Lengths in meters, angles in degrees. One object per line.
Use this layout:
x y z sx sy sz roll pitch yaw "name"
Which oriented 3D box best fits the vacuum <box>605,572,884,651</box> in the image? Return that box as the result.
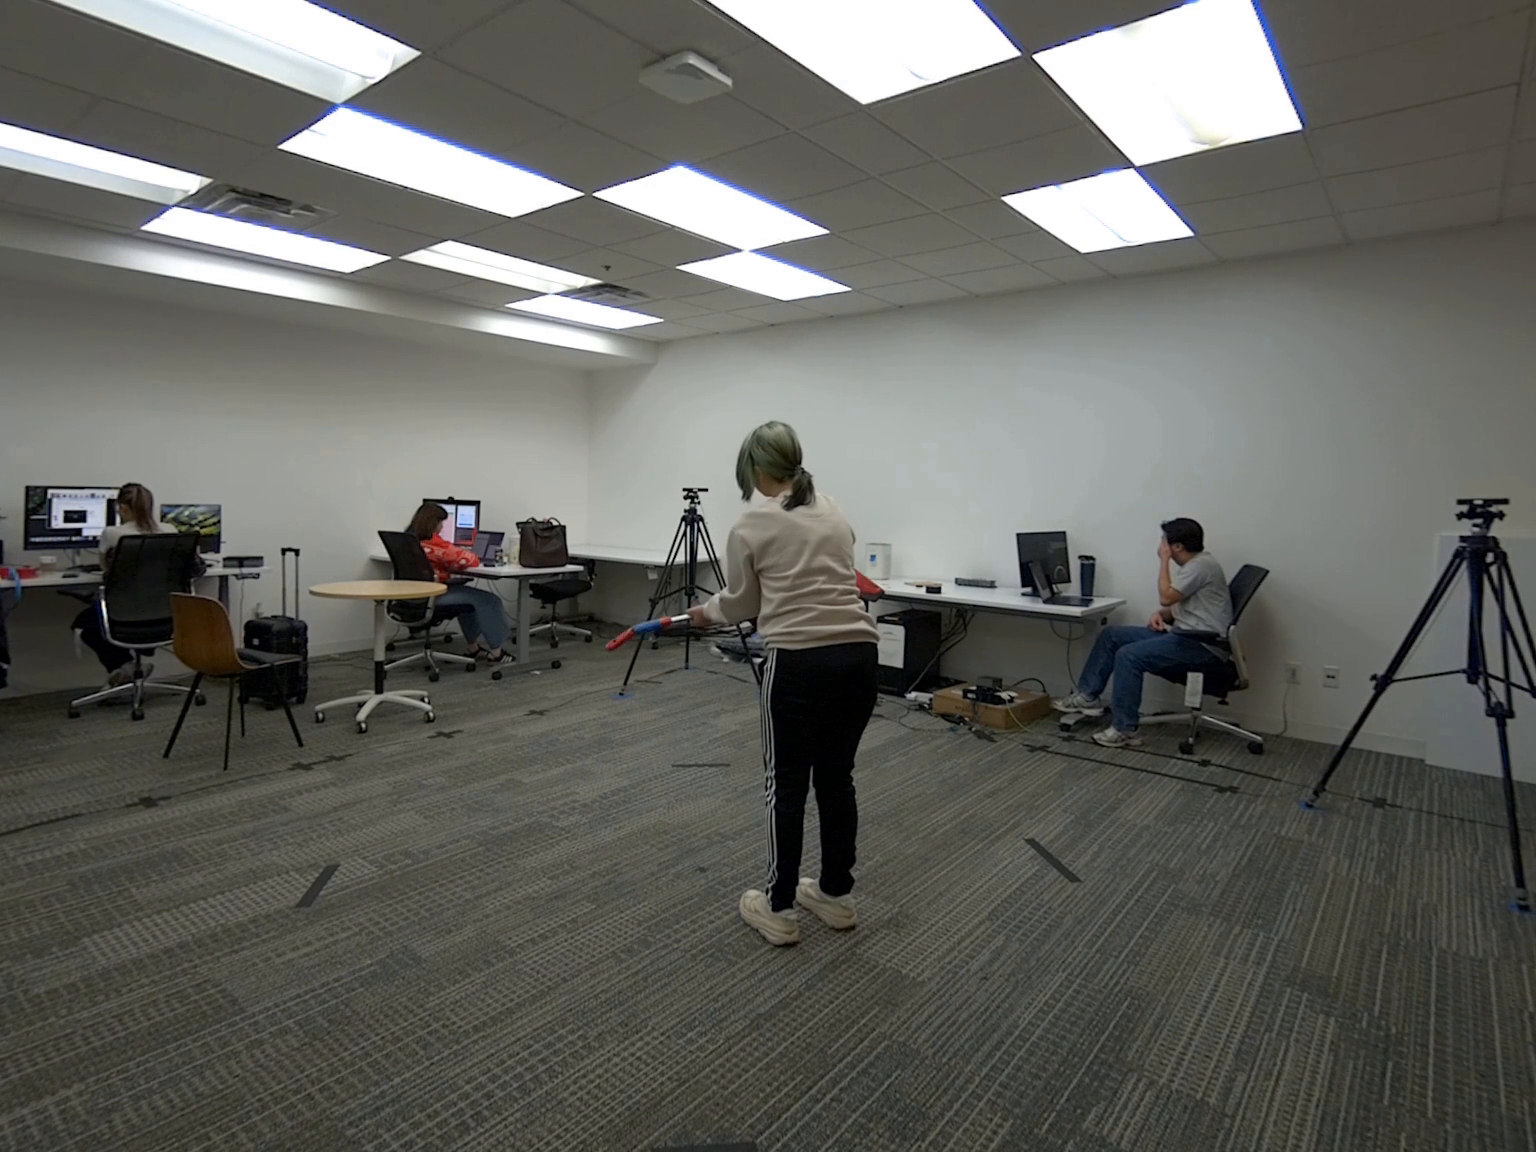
-0.088 0.149 3.132 1.026 0.141 0.263 -12 32 -30 "vacuum"
